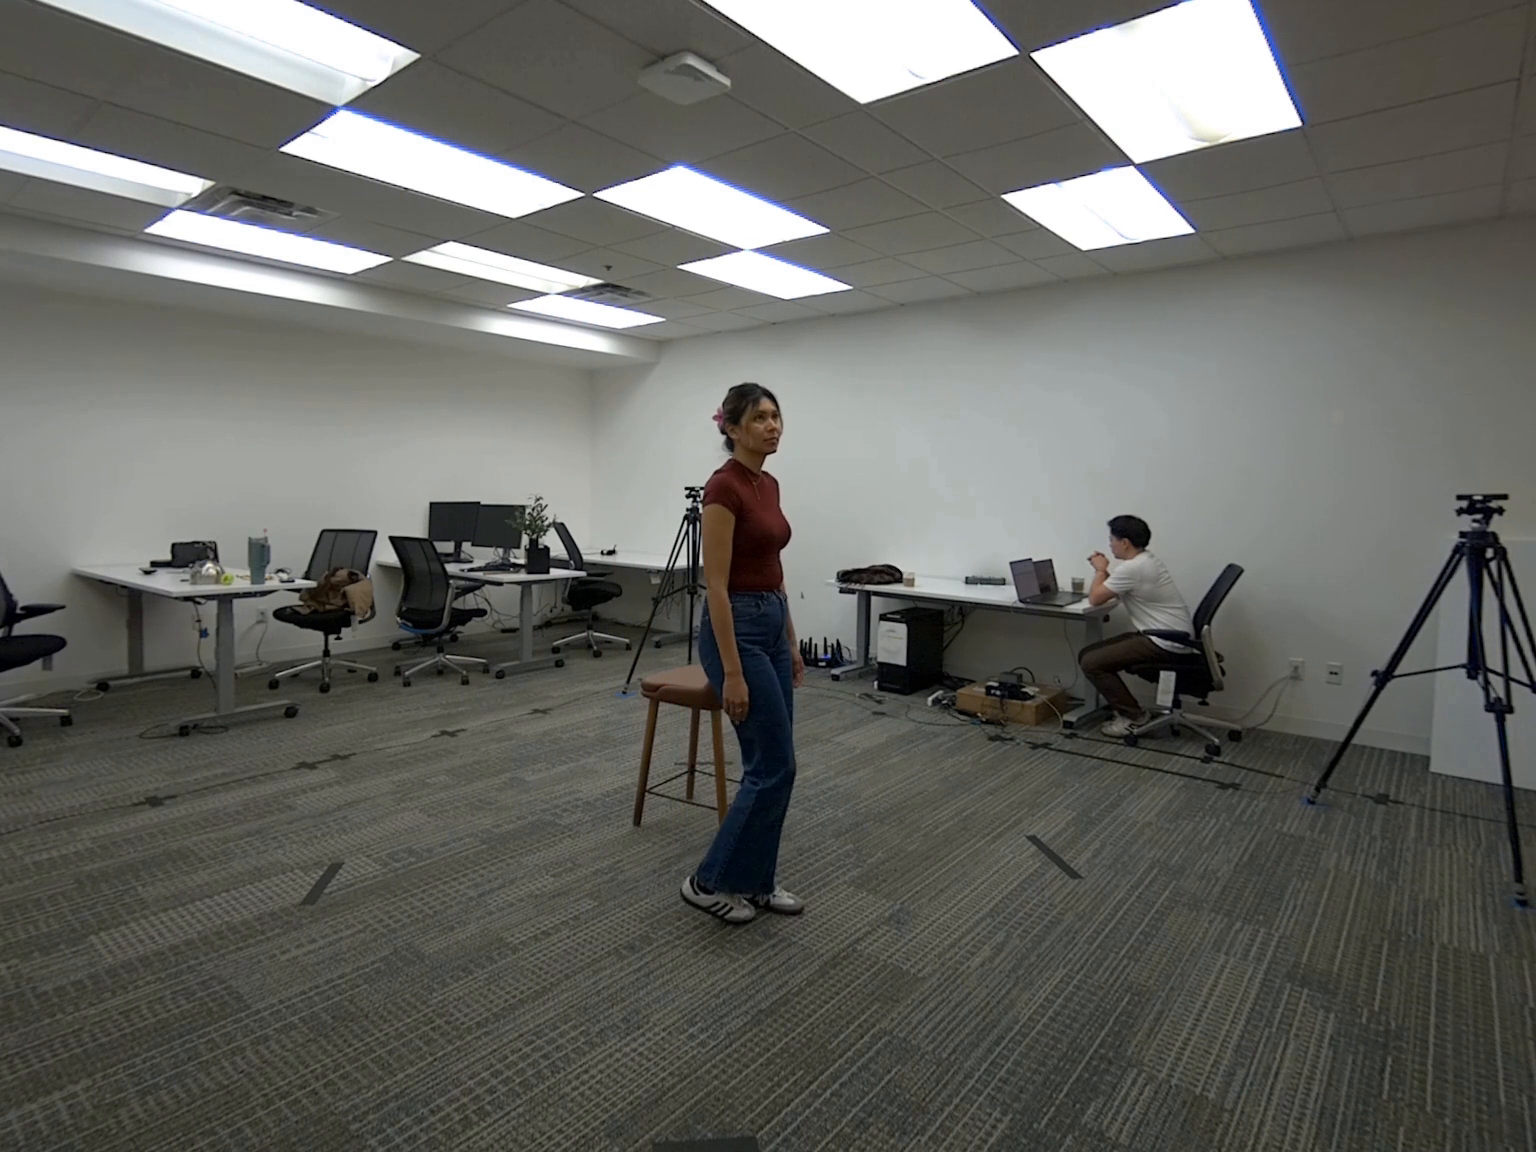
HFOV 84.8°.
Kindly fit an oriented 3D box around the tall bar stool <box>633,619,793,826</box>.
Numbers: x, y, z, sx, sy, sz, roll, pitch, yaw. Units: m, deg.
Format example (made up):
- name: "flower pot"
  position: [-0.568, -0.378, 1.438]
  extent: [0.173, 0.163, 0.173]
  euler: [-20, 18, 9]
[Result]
- name: "tall bar stool"
  position: [-0.265, 0.589, 3.515]
  extent: [0.482, 0.887, 0.444]
  euler: [5, 4, 32]
